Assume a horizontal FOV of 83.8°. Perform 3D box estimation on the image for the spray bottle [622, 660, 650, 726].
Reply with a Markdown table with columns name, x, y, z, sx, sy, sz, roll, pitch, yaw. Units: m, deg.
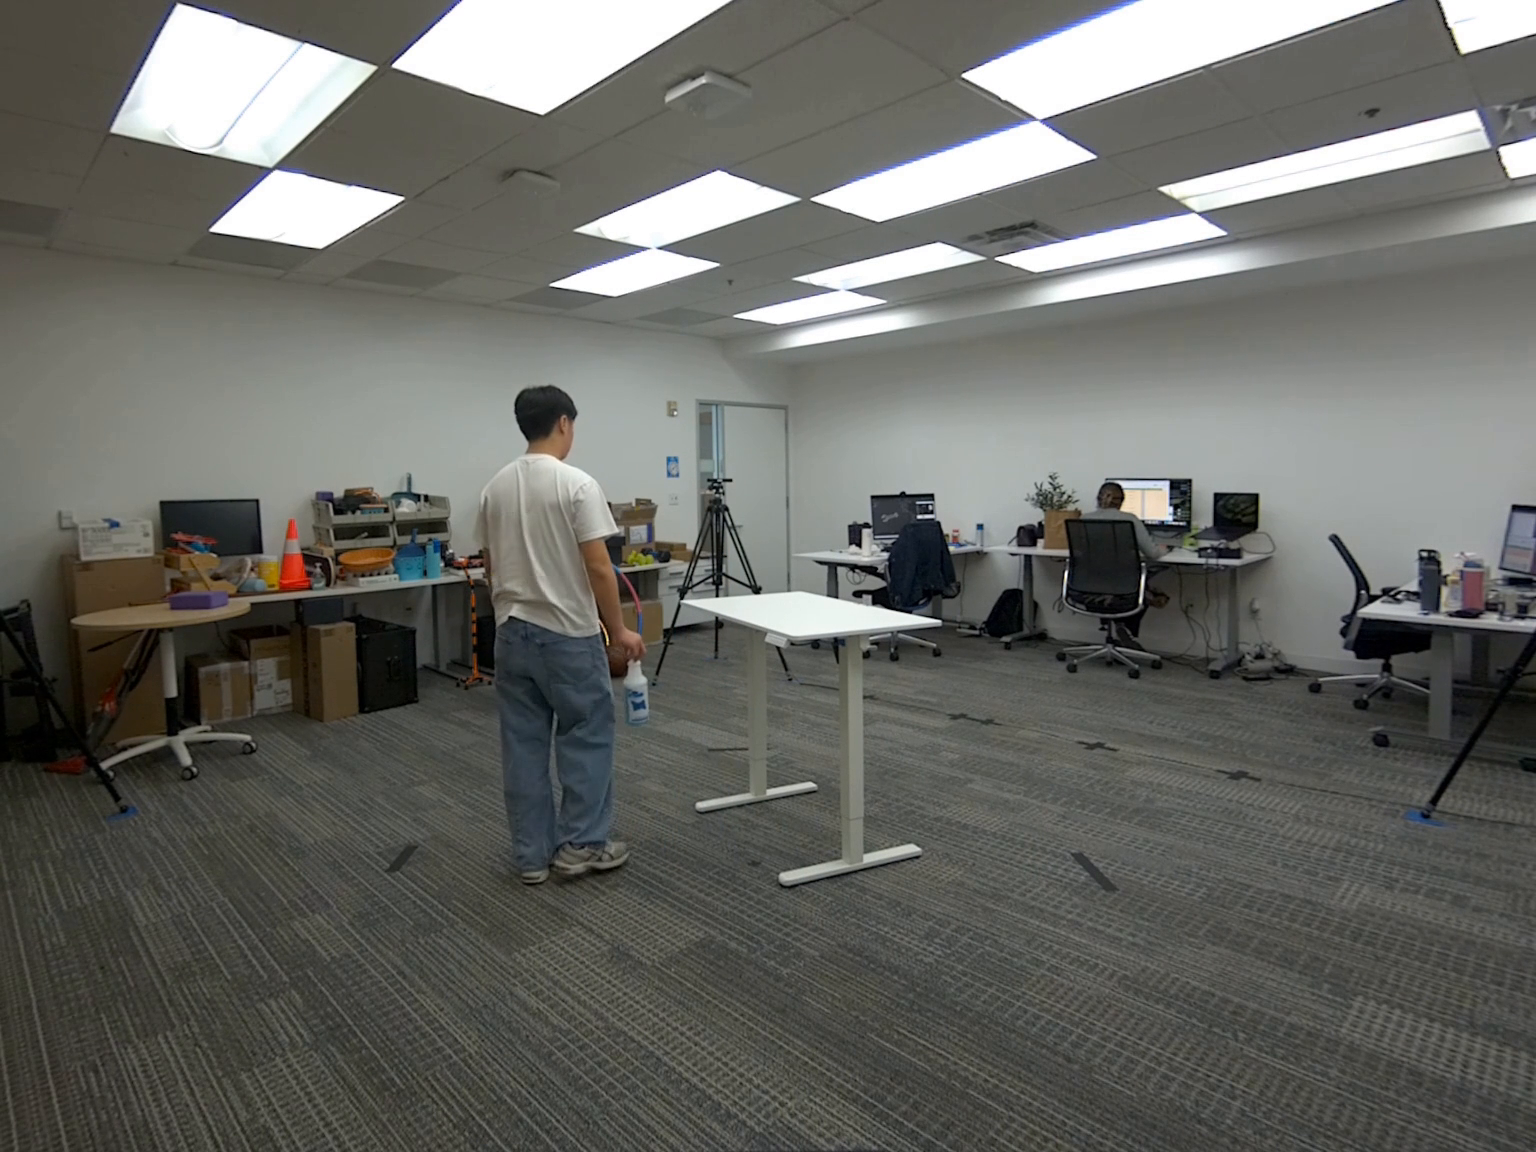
| name | x | y | z | sx | sy | sz | roll | pitch | yaw |
| --- | --- | --- | --- | --- | --- | --- | --- | --- | --- |
| spray bottle | -0.475 | 0.386 | 3.051 | 0.089 | 0.296 | 0.088 | 2 | 5 | 41 |
